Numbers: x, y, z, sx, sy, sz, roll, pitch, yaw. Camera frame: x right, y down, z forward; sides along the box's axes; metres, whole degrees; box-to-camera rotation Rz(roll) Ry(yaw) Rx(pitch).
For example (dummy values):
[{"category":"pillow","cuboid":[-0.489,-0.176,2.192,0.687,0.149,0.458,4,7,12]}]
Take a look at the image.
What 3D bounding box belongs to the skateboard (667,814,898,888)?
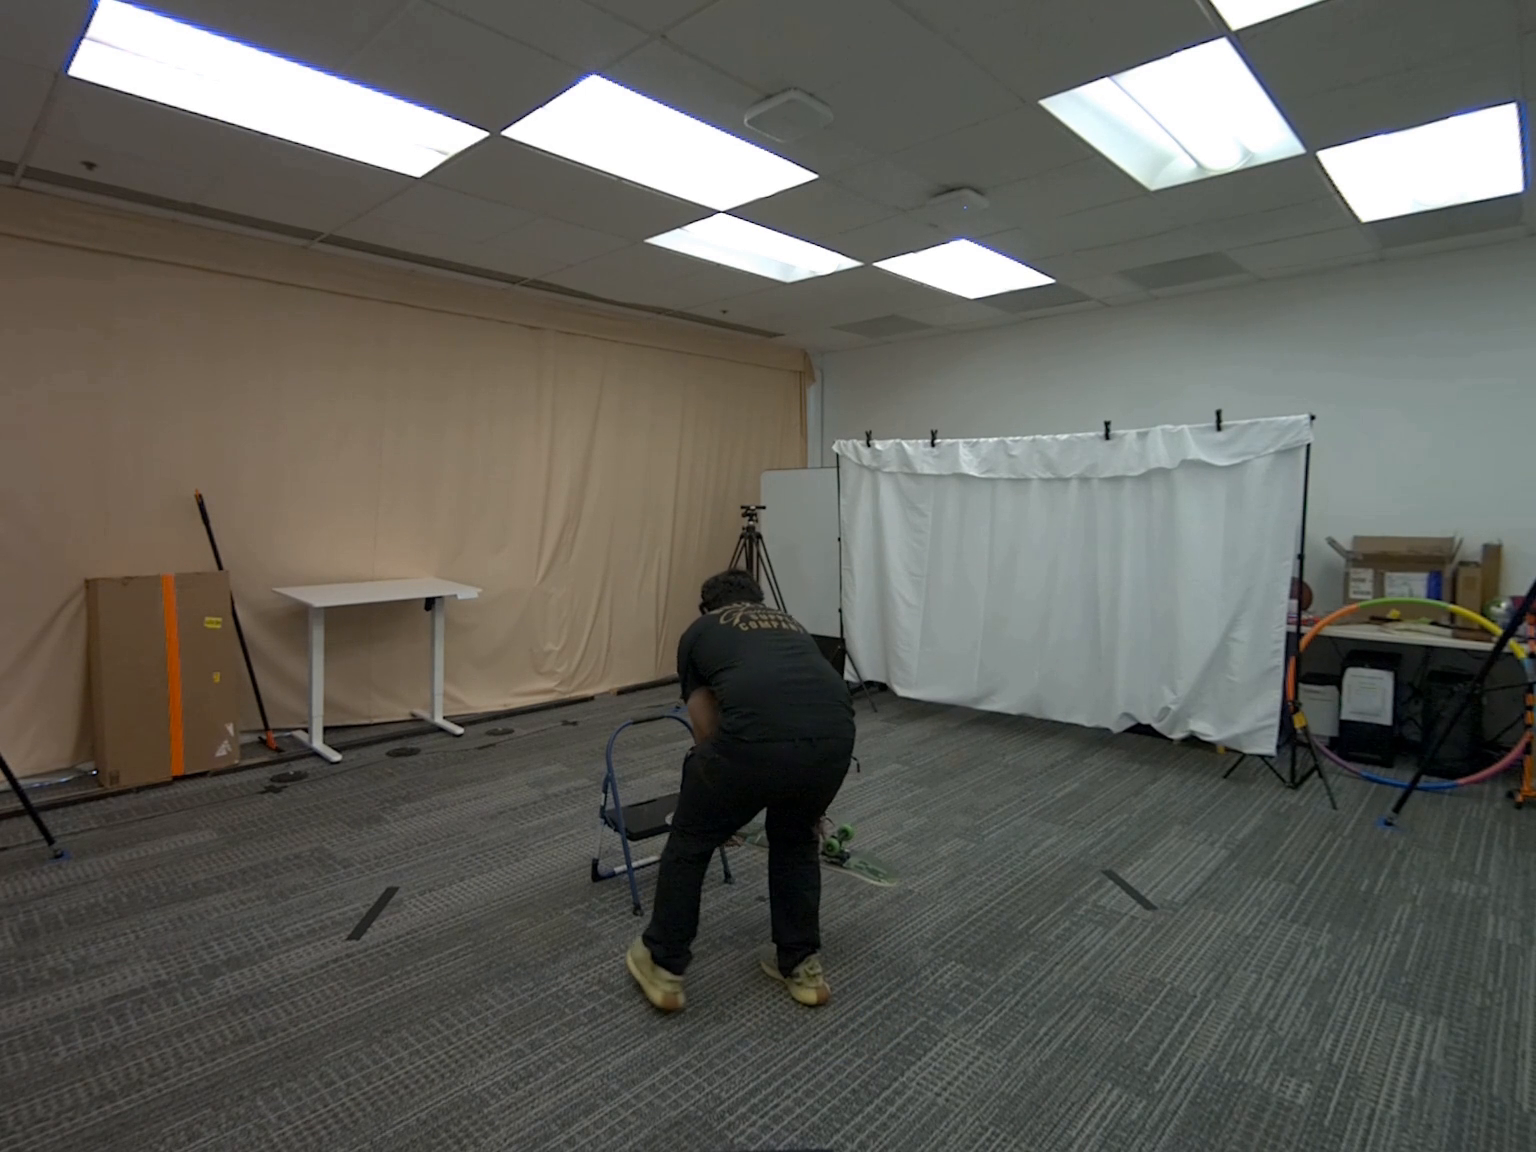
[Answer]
[{"category":"skateboard","cuboid":[0.044,0.834,2.697,0.804,0.110,0.189,9,5,22]}]
